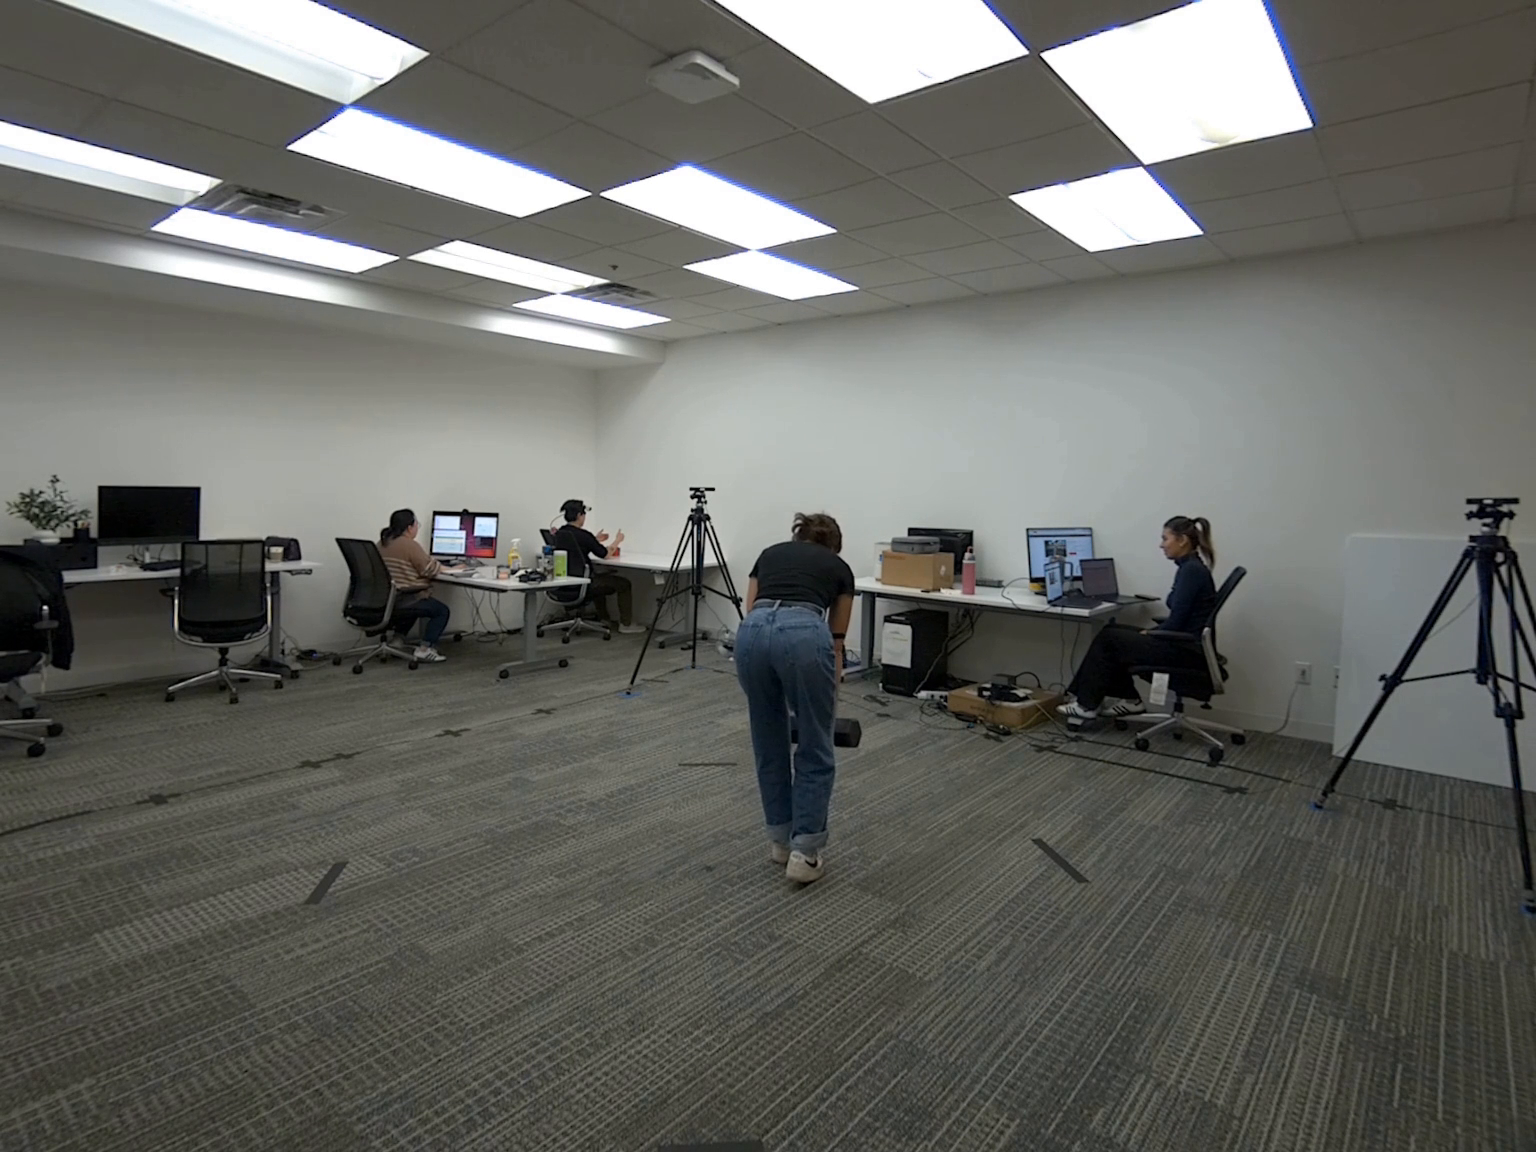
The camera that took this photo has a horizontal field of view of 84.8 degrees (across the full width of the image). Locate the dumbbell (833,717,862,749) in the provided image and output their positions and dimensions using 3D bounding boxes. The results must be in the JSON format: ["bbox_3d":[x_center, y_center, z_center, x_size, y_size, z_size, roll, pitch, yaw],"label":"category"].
[{"bbox_3d":[0.197,0.595,3.251,0.302,0.124,0.104,-3,-43,34],"label":"dumbbell"}]
